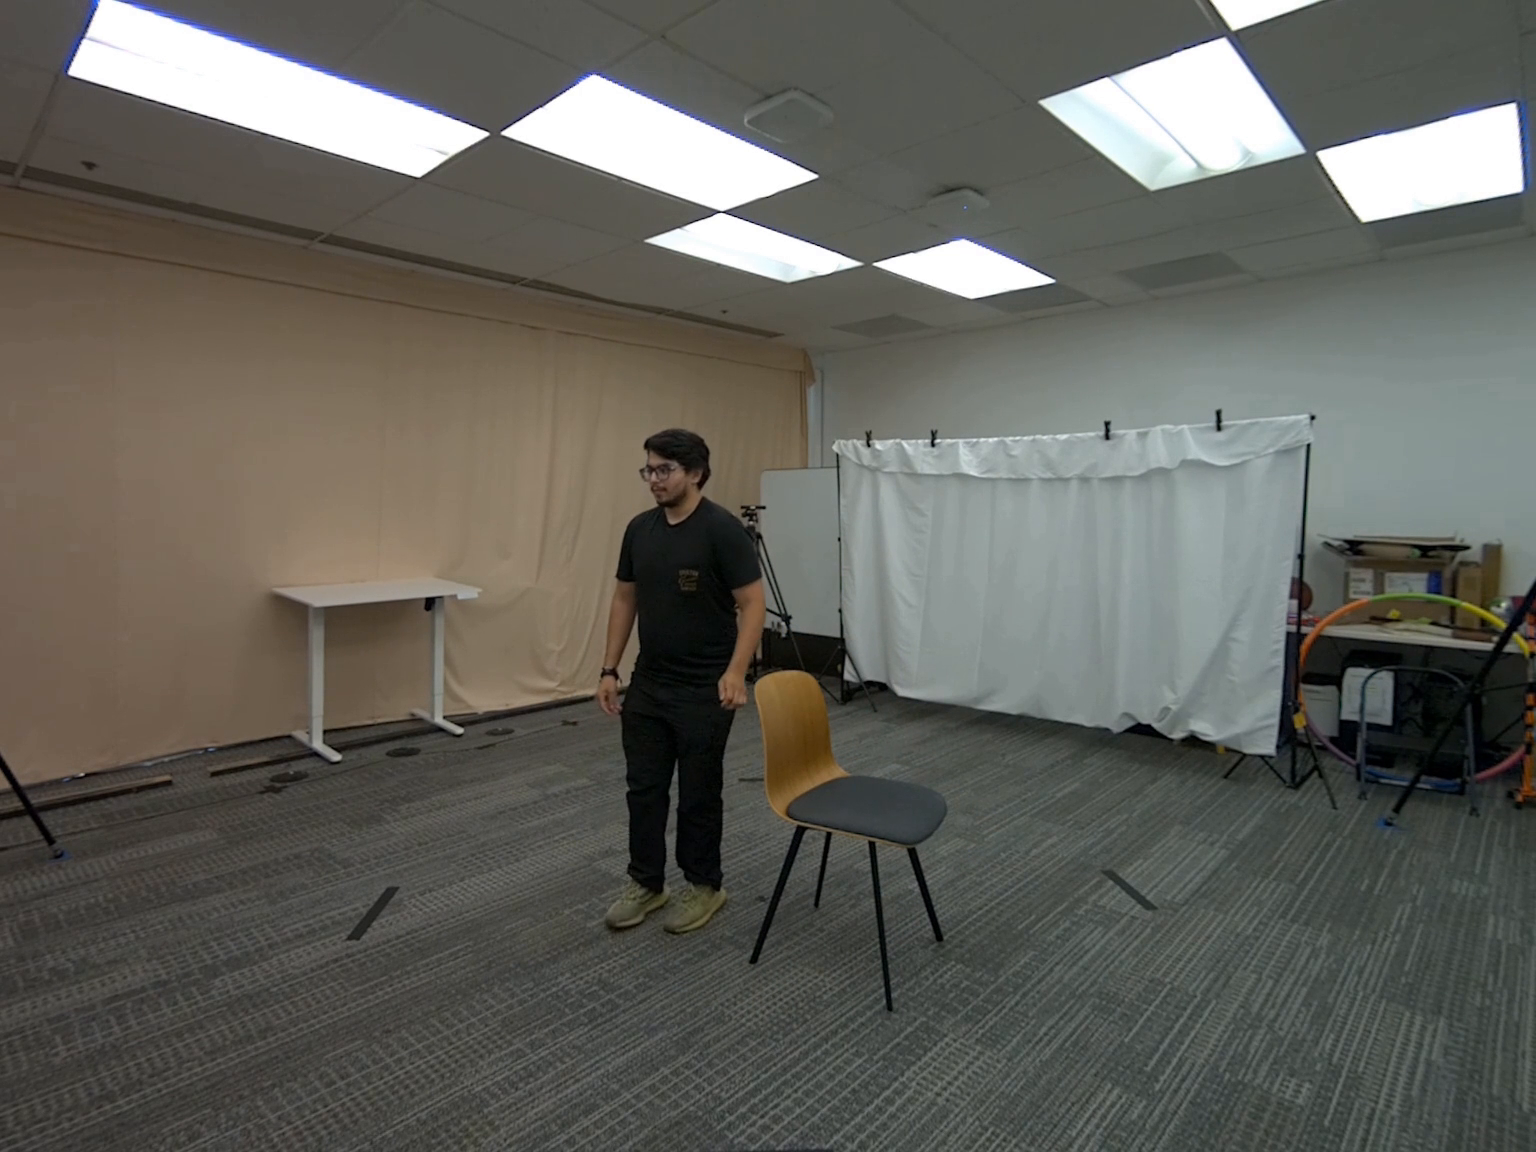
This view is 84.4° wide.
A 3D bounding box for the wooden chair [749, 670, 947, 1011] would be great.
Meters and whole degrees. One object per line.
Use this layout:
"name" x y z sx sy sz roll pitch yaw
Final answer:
"wooden chair" 0.265 0.751 2.593 0.538 0.877 0.465 -3 1 31
